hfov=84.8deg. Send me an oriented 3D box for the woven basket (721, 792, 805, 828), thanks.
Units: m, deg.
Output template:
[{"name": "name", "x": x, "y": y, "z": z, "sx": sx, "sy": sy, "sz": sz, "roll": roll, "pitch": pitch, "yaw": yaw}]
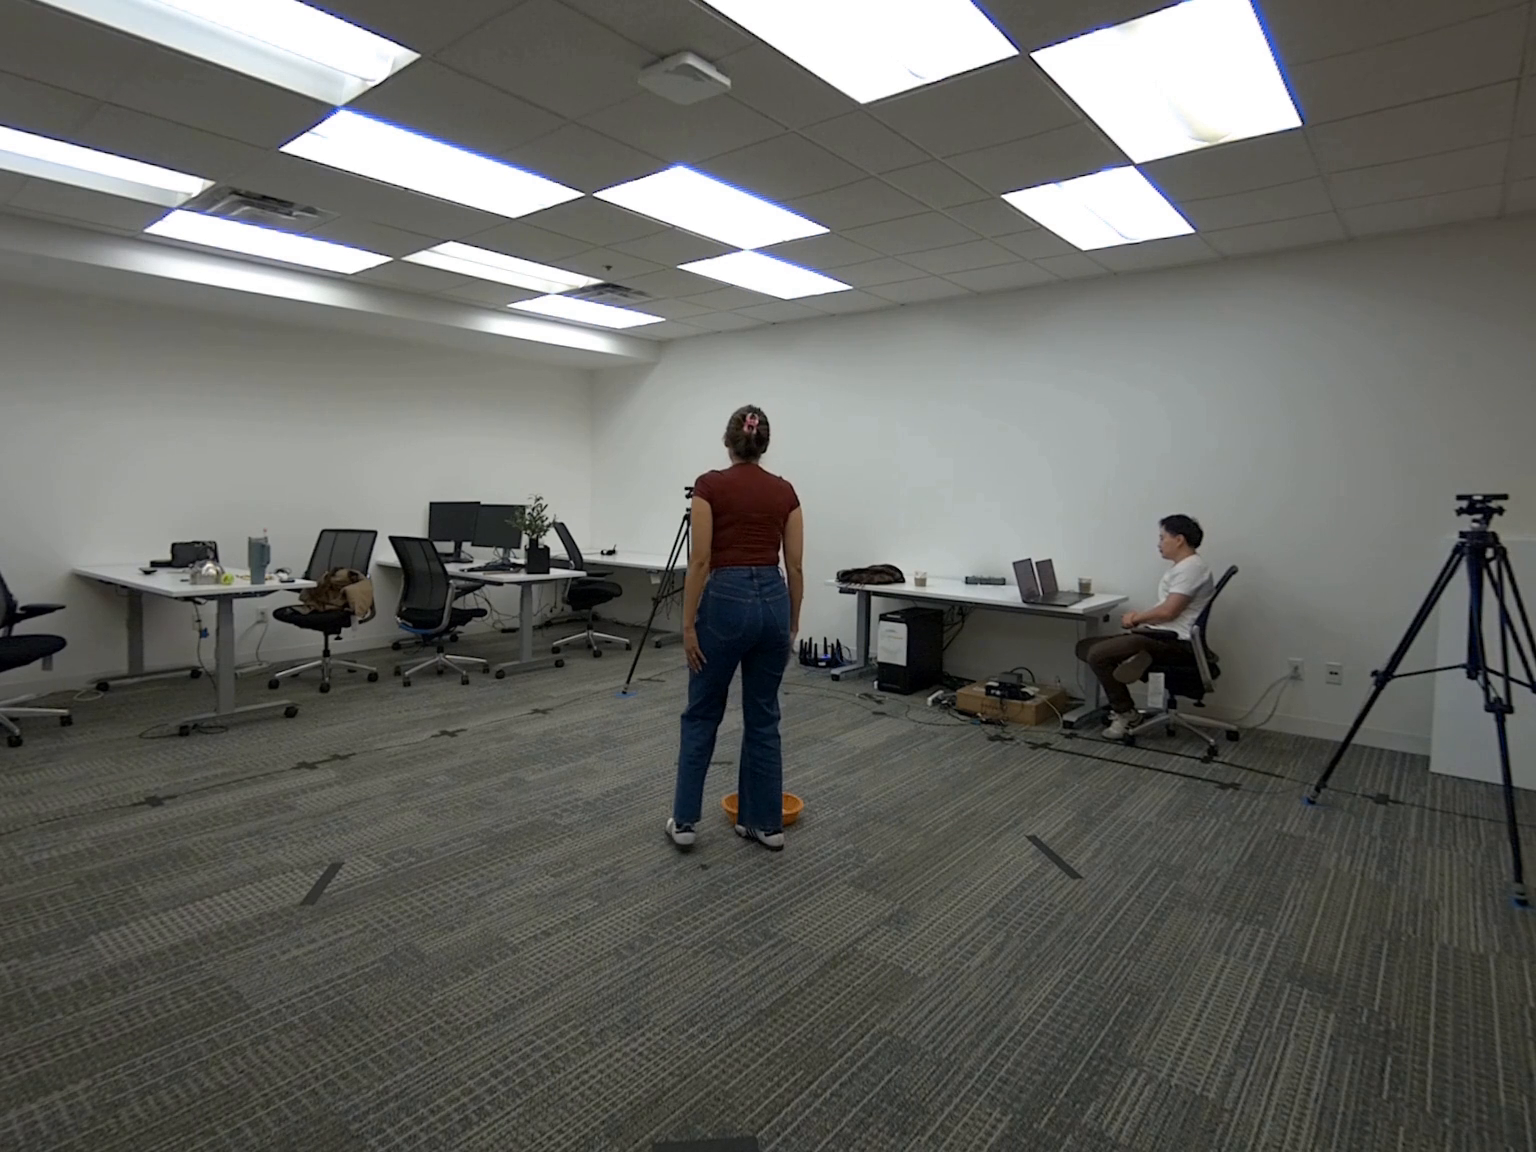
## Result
[{"name": "woven basket", "x": -0.035, "y": 0.975, "z": 3.573, "sx": 0.349, "sy": 0.073, "sz": 0.255, "roll": 0, "pitch": 6, "yaw": -5}]
